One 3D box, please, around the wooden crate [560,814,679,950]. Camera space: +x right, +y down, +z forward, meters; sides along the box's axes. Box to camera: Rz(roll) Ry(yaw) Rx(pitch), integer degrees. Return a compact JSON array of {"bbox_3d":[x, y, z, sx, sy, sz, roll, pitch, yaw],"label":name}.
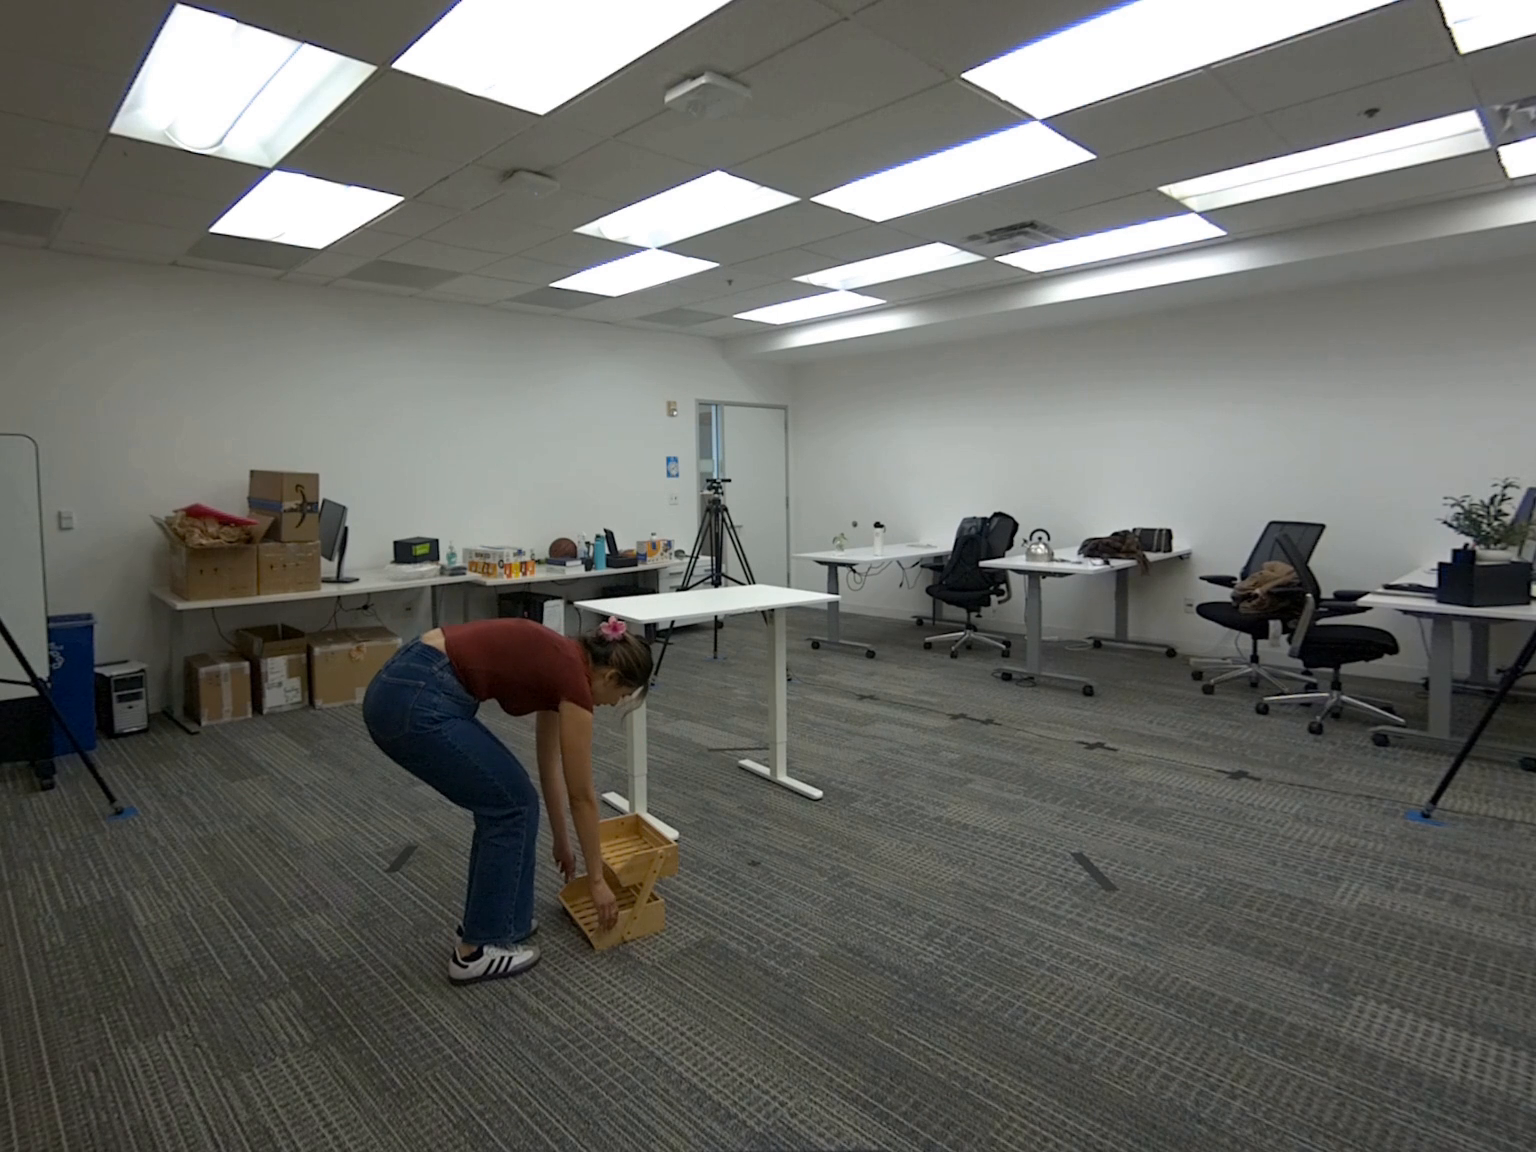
[{"bbox_3d":[-0.485,0.961,2.735,0.295,0.272,0.334,-4,6,-31],"label":"wooden crate"}]
